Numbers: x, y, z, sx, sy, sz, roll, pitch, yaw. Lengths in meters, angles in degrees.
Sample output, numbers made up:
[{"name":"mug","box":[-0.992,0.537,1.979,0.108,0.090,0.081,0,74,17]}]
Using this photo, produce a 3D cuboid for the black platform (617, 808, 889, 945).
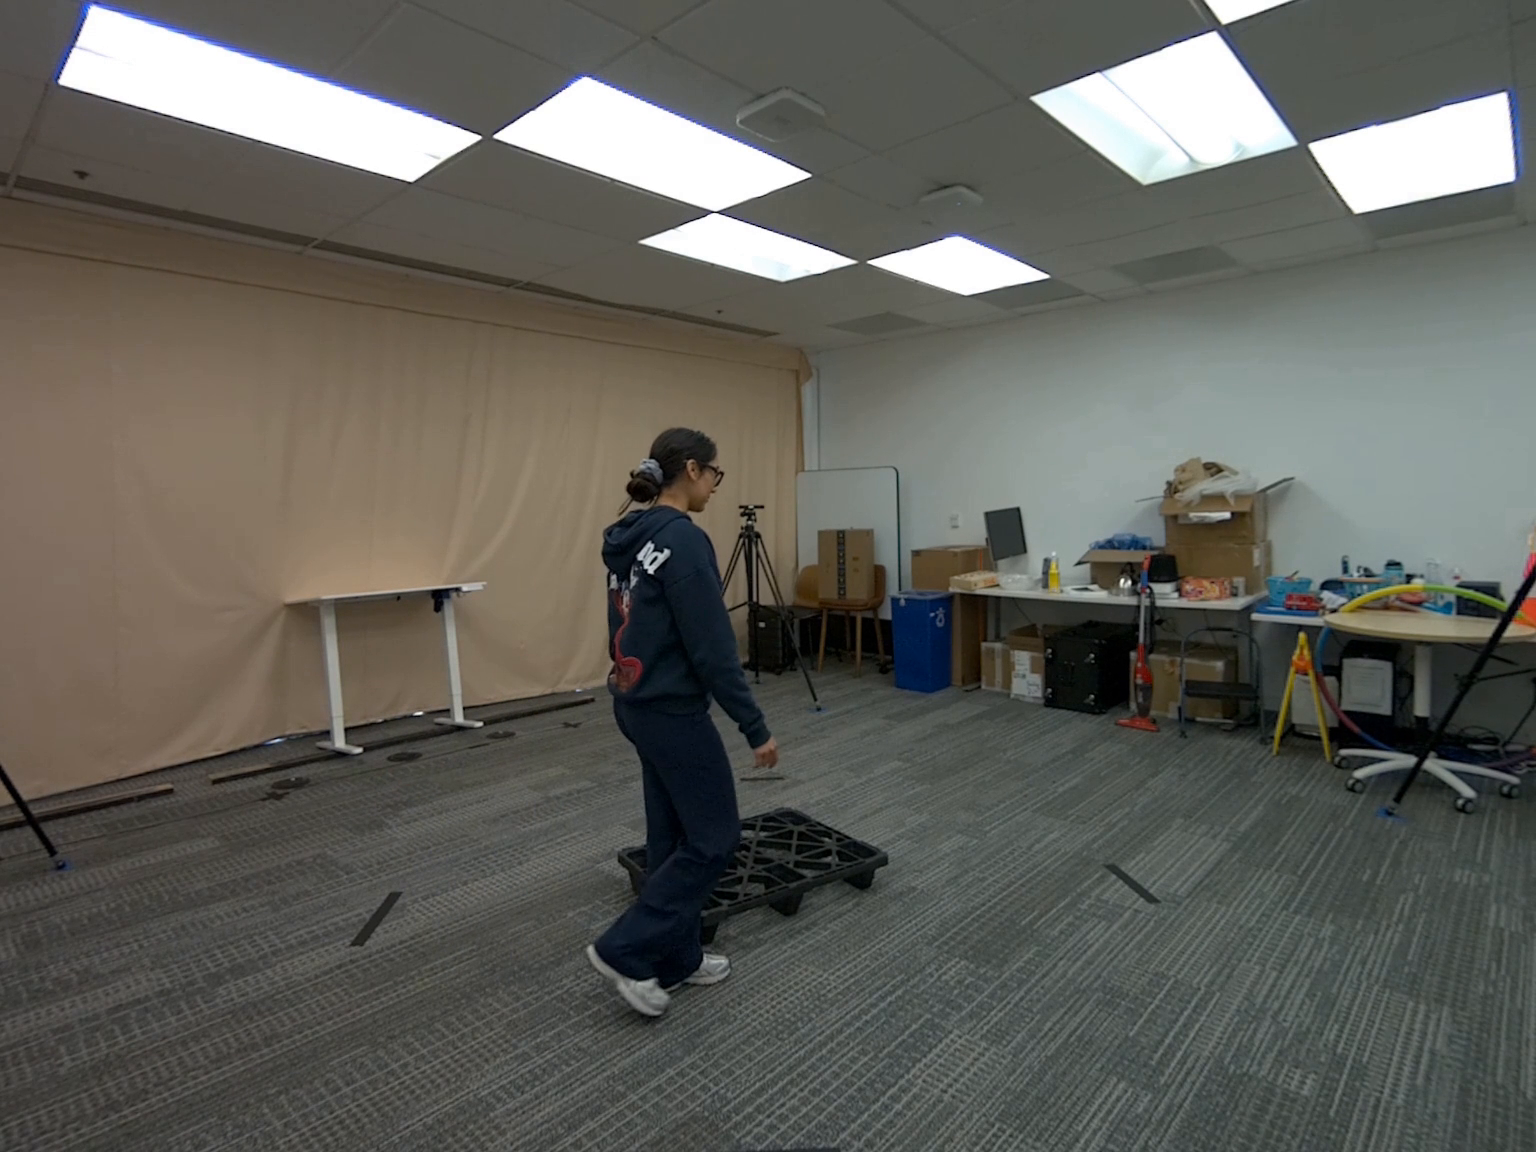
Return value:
[{"name":"black platform","box":[-0.059,1.072,3.049,0.783,0.143,0.624,-4,5,-34]}]
